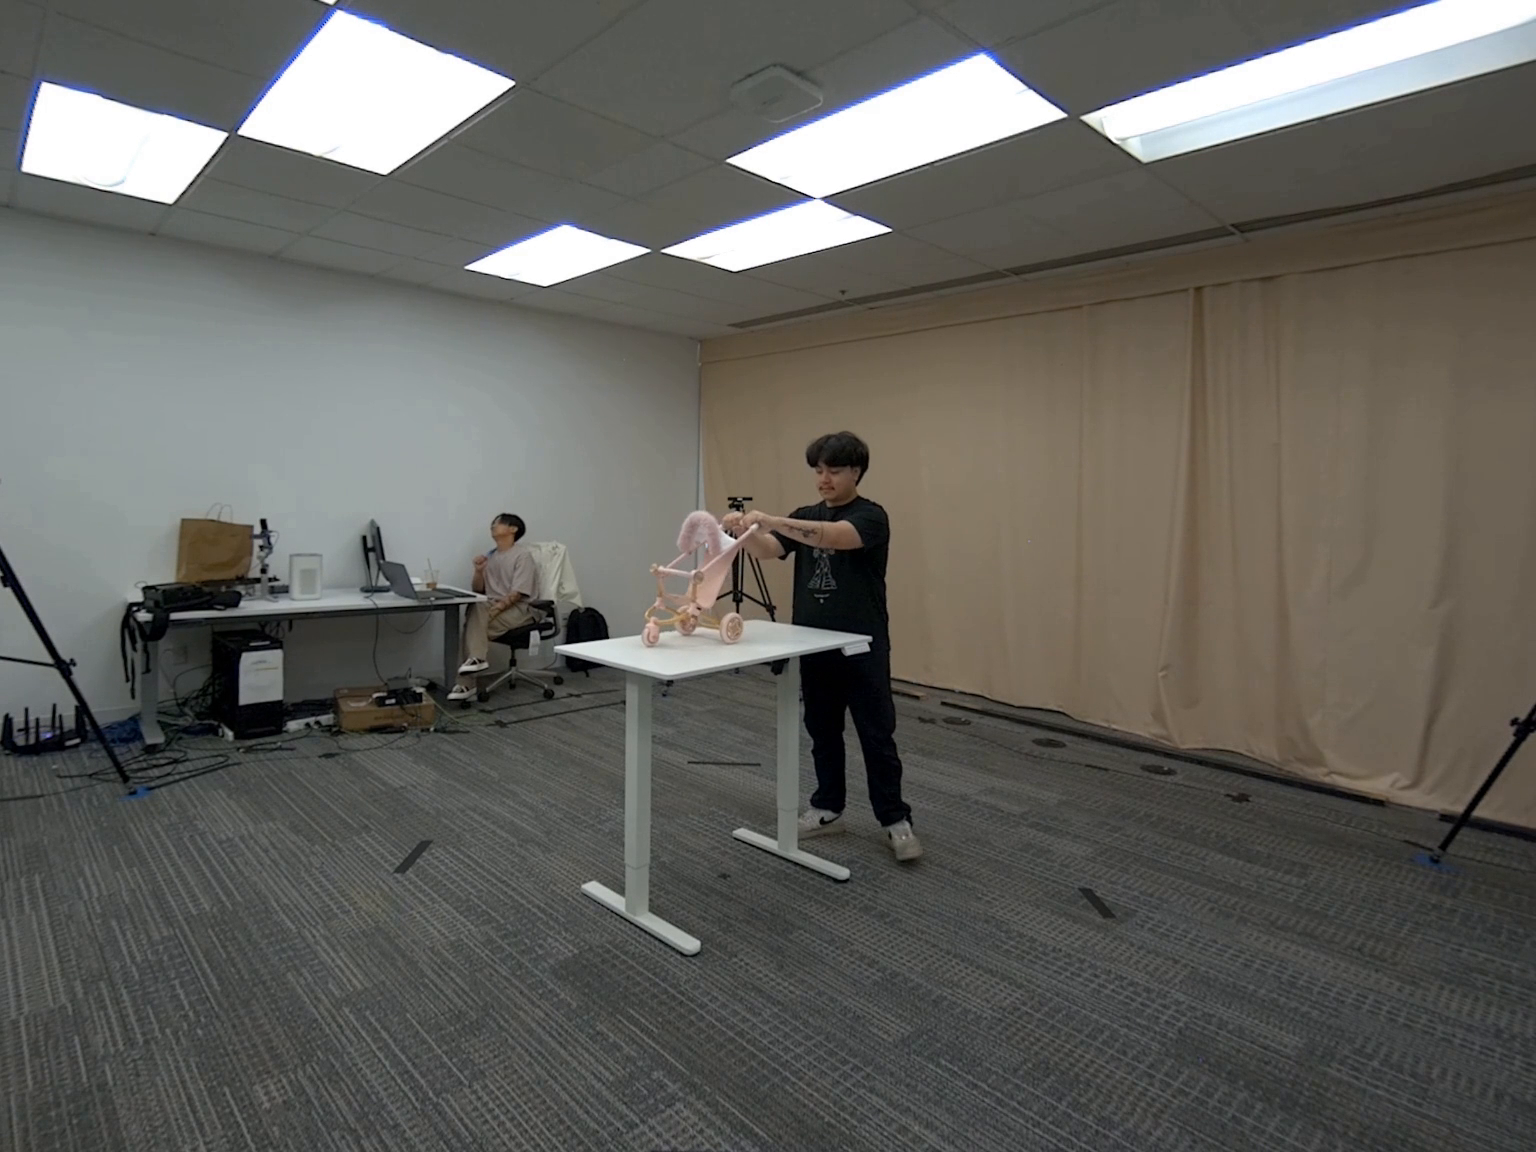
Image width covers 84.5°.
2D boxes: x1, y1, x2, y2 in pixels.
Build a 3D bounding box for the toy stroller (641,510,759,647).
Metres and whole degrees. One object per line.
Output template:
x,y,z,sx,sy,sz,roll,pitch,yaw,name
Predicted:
-0.260,0.009,2.988,0.332,0.537,0.288,16,-7,-38,toy stroller
